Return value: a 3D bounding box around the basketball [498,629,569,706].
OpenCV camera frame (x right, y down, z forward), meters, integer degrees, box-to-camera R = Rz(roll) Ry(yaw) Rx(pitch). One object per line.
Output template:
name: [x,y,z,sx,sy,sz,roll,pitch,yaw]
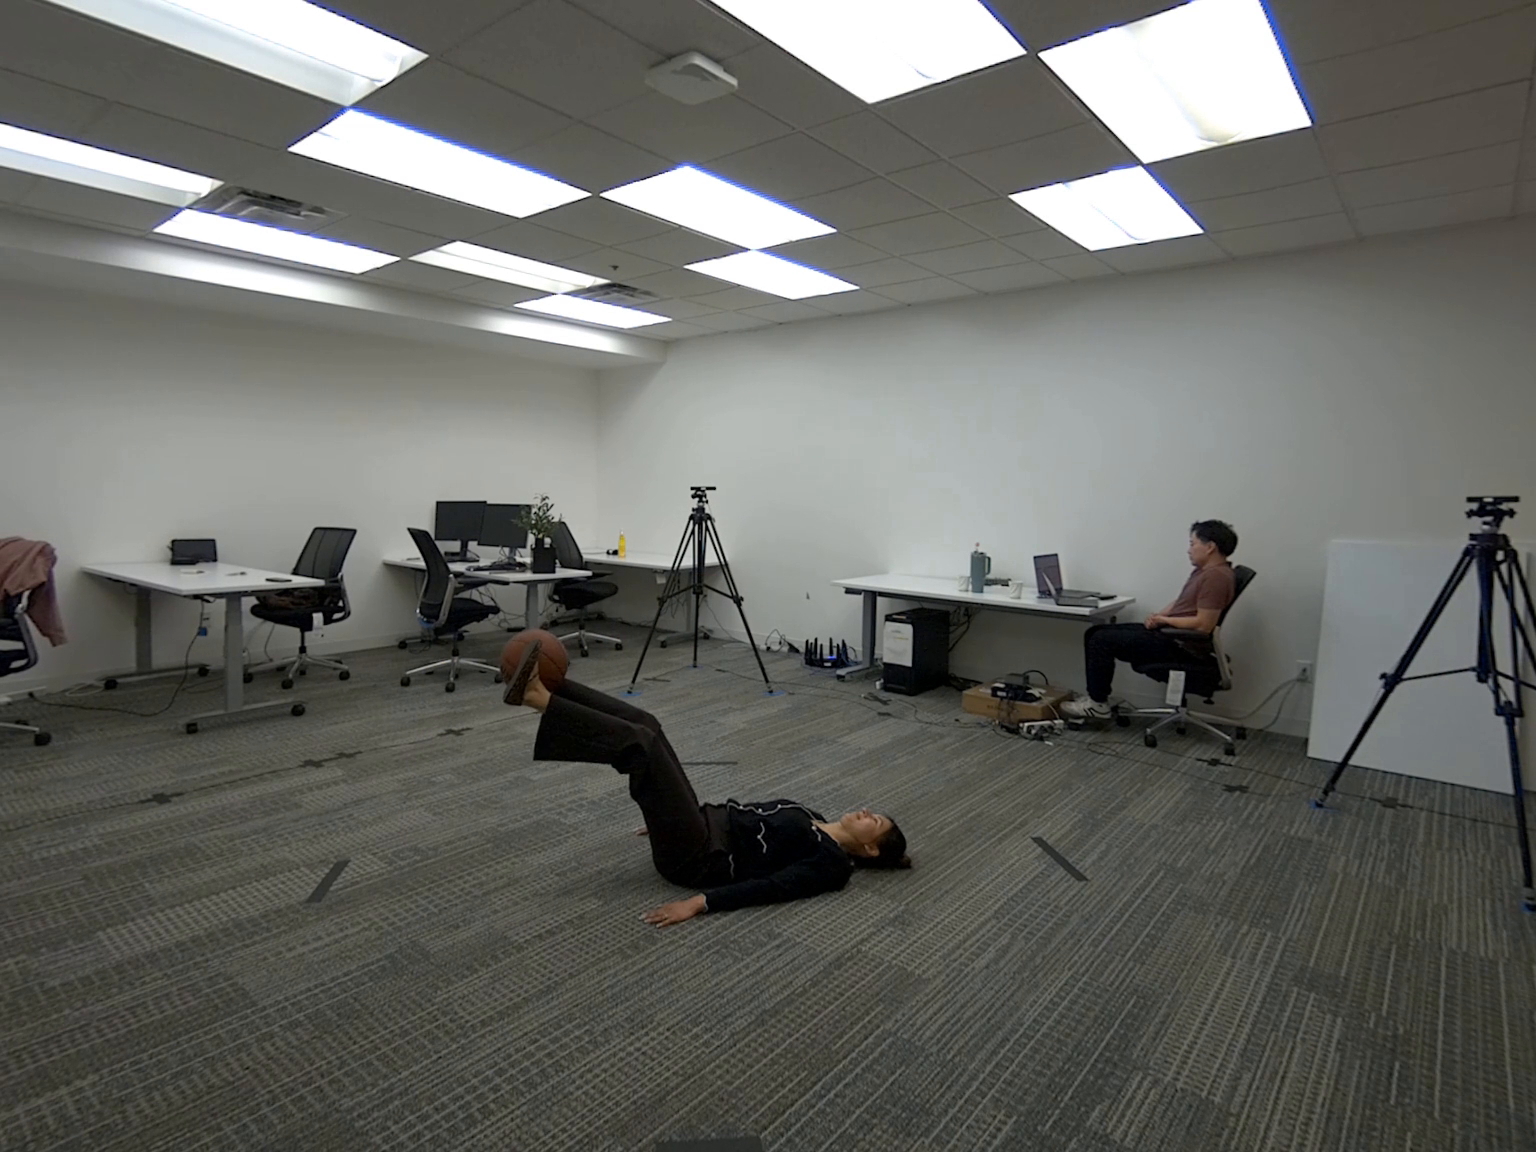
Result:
basketball: [-0.826,0.295,2.977,0.236,0.234,0.238,0,7,-2]
